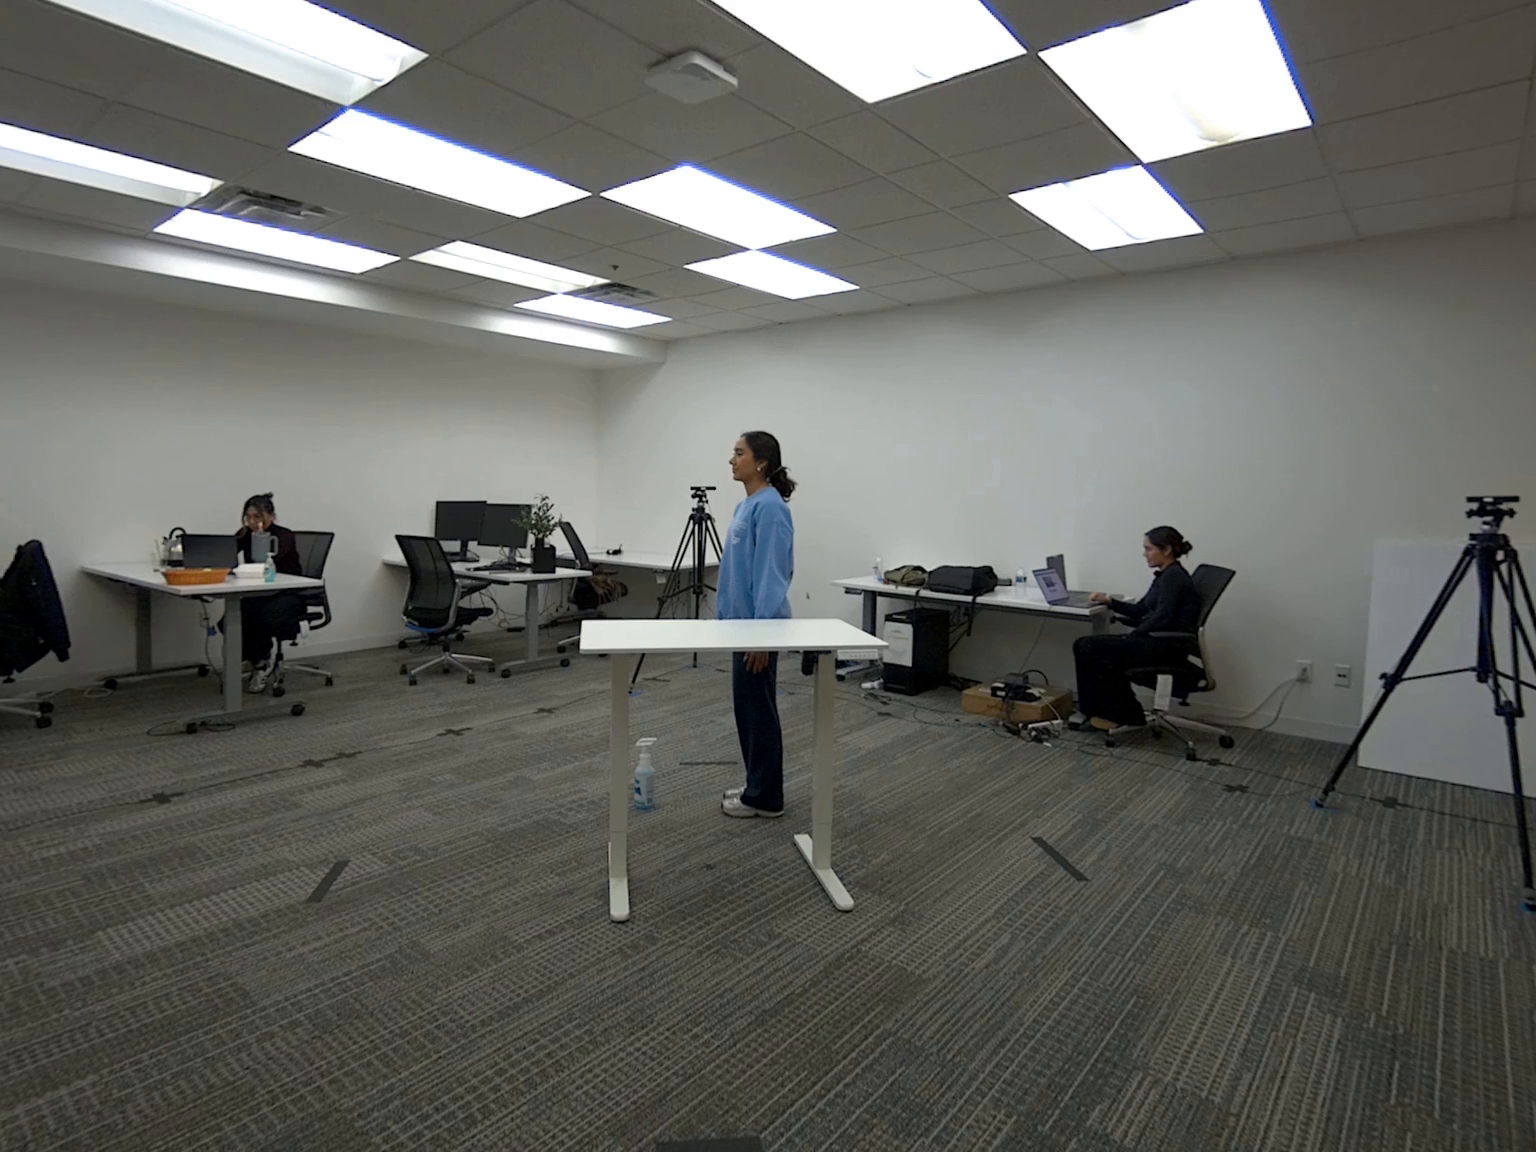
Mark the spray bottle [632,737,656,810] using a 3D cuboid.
[{"bbox_3d":[-0.549,0.860,3.715,0.092,0.296,0.085,2,5,22],"label":"spray bottle"}]
